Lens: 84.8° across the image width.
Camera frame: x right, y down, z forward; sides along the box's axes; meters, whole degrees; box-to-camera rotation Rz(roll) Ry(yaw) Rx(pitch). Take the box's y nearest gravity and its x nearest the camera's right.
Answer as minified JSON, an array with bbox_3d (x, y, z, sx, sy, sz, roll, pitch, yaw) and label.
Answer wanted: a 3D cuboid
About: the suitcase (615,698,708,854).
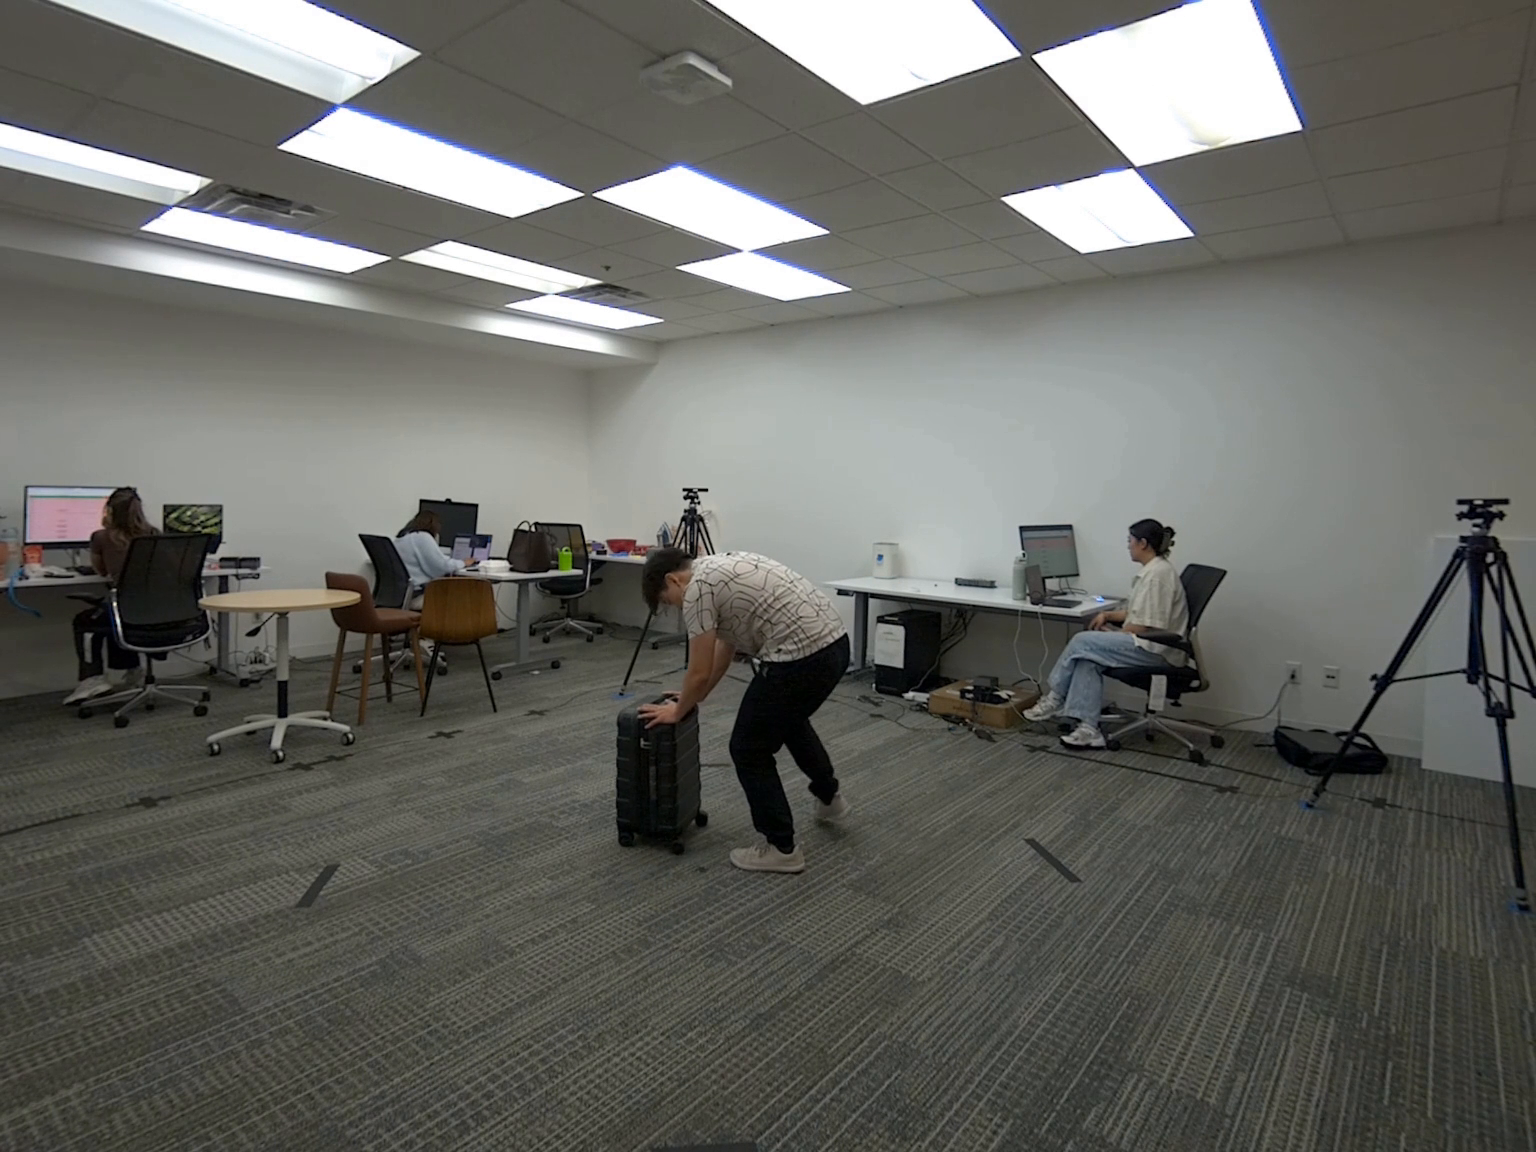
[{"bbox_3d":[-0.446,0.764,3.413,0.253,0.548,0.369,-1,3,17],"label":"suitcase"}]
